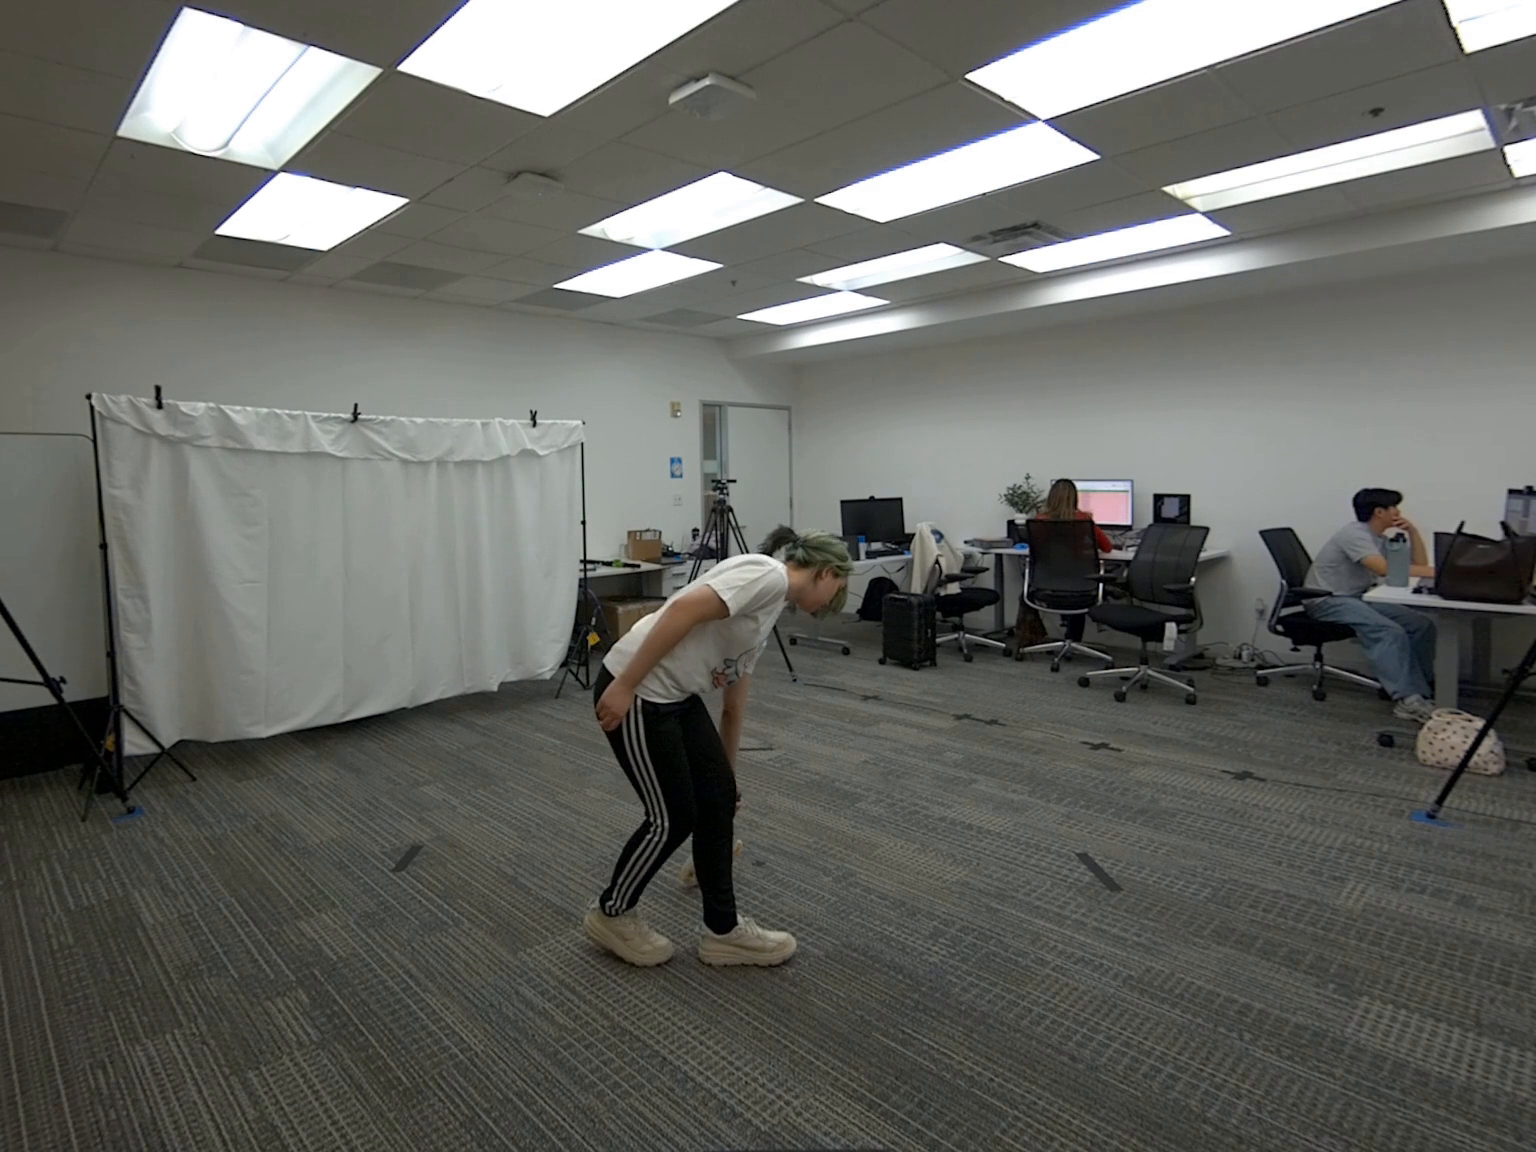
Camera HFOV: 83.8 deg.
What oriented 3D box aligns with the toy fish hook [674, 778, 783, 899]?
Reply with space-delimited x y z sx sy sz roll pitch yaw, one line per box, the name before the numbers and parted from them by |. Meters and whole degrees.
toy fish hook | -0.138 0.874 2.843 0.219 0.500 0.050 -9 46 -38
